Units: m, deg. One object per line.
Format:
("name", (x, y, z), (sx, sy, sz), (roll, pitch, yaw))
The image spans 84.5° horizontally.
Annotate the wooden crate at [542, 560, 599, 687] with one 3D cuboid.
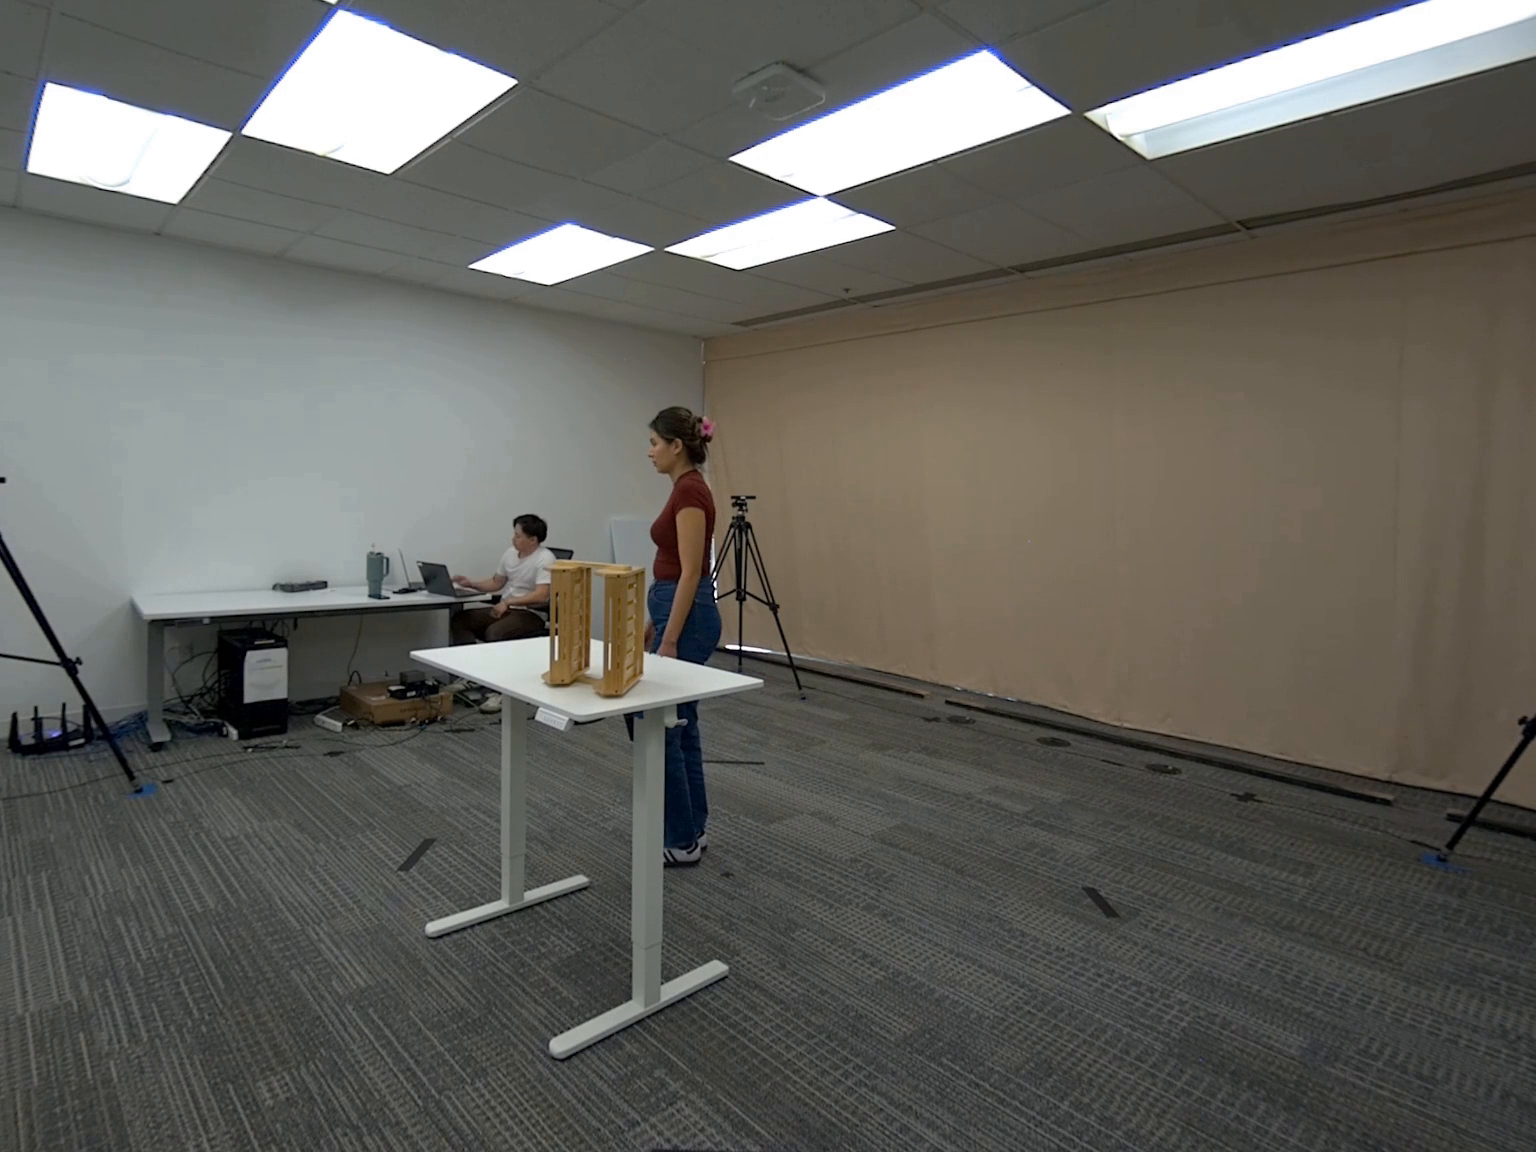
("wooden crate", (-0.496, 0.134, 2.225), (0.275, 0.324, 0.301), (2, 3, 6))
